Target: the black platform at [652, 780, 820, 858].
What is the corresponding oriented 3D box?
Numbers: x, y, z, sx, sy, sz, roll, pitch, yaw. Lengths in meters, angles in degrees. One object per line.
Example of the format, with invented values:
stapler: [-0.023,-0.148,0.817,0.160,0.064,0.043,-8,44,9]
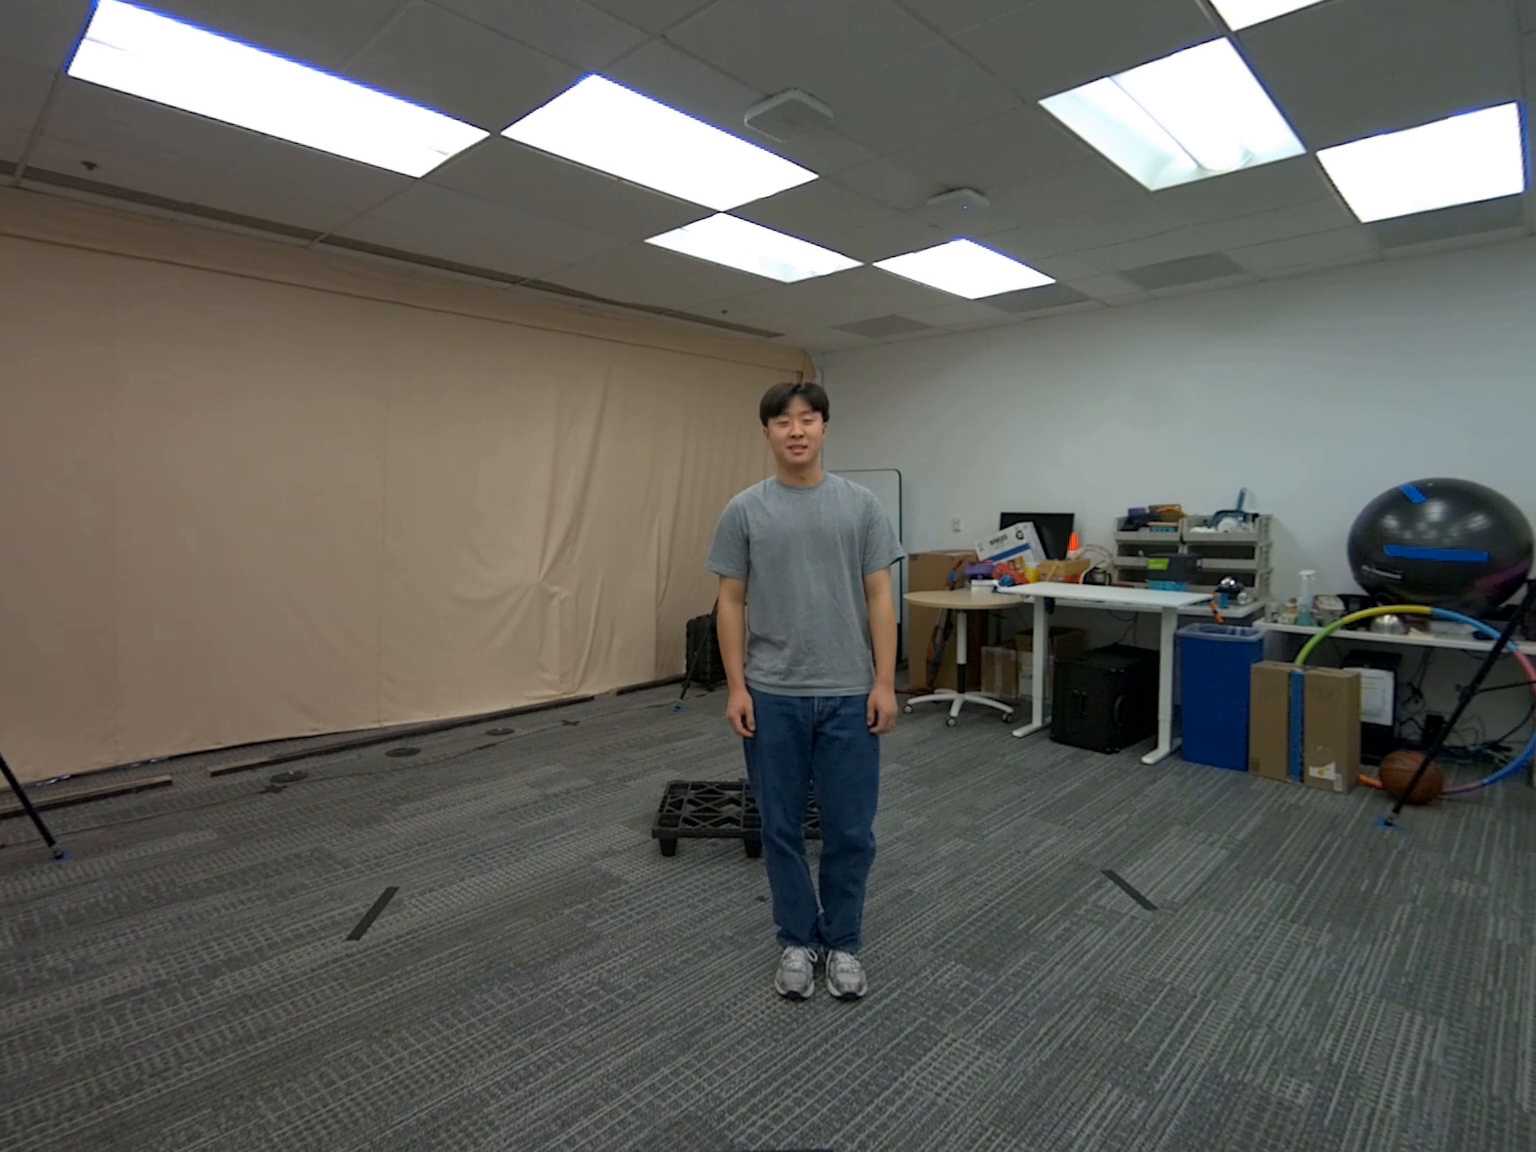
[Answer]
black platform: [-0.056,1.027,3.555,0.808,0.143,0.605,0,5,2]
